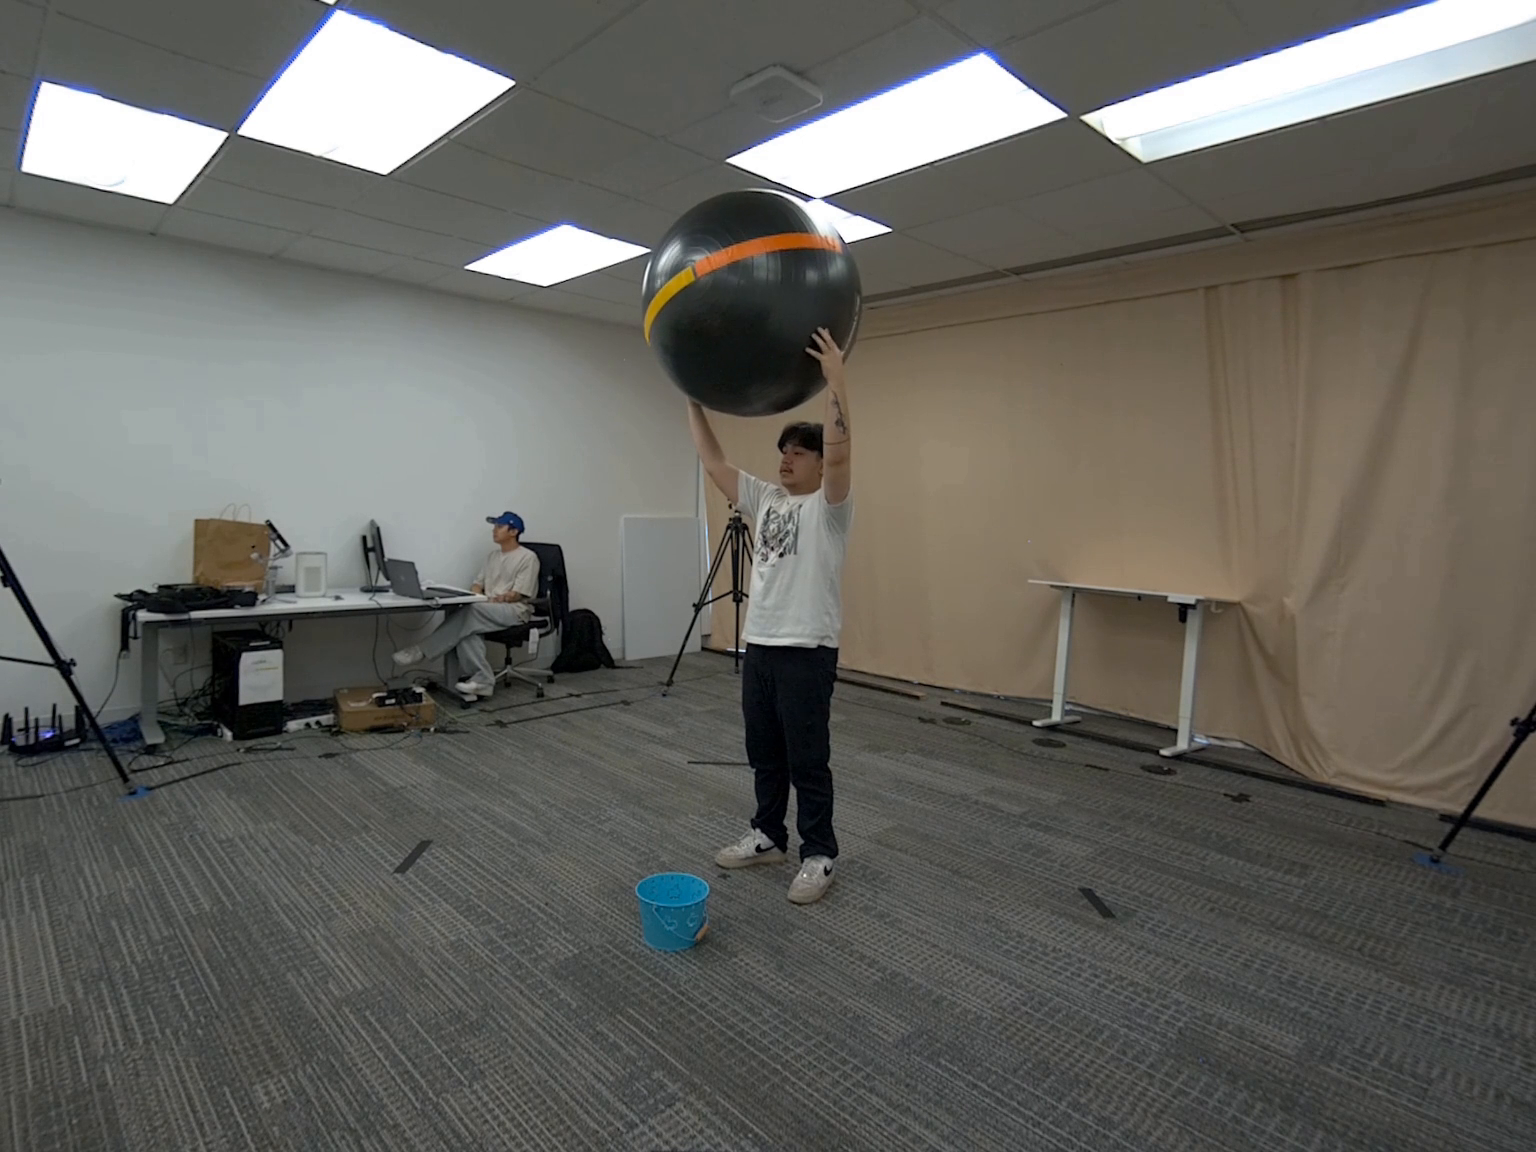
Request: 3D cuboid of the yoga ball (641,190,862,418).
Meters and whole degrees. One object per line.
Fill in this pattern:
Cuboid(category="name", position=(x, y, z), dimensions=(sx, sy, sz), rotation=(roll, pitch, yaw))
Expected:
Cuboid(category="yoga ball", position=(-0.063, -0.935, 2.928), dimensions=(0.757, 0.756, 0.760), rotation=(1, 4, -1))
